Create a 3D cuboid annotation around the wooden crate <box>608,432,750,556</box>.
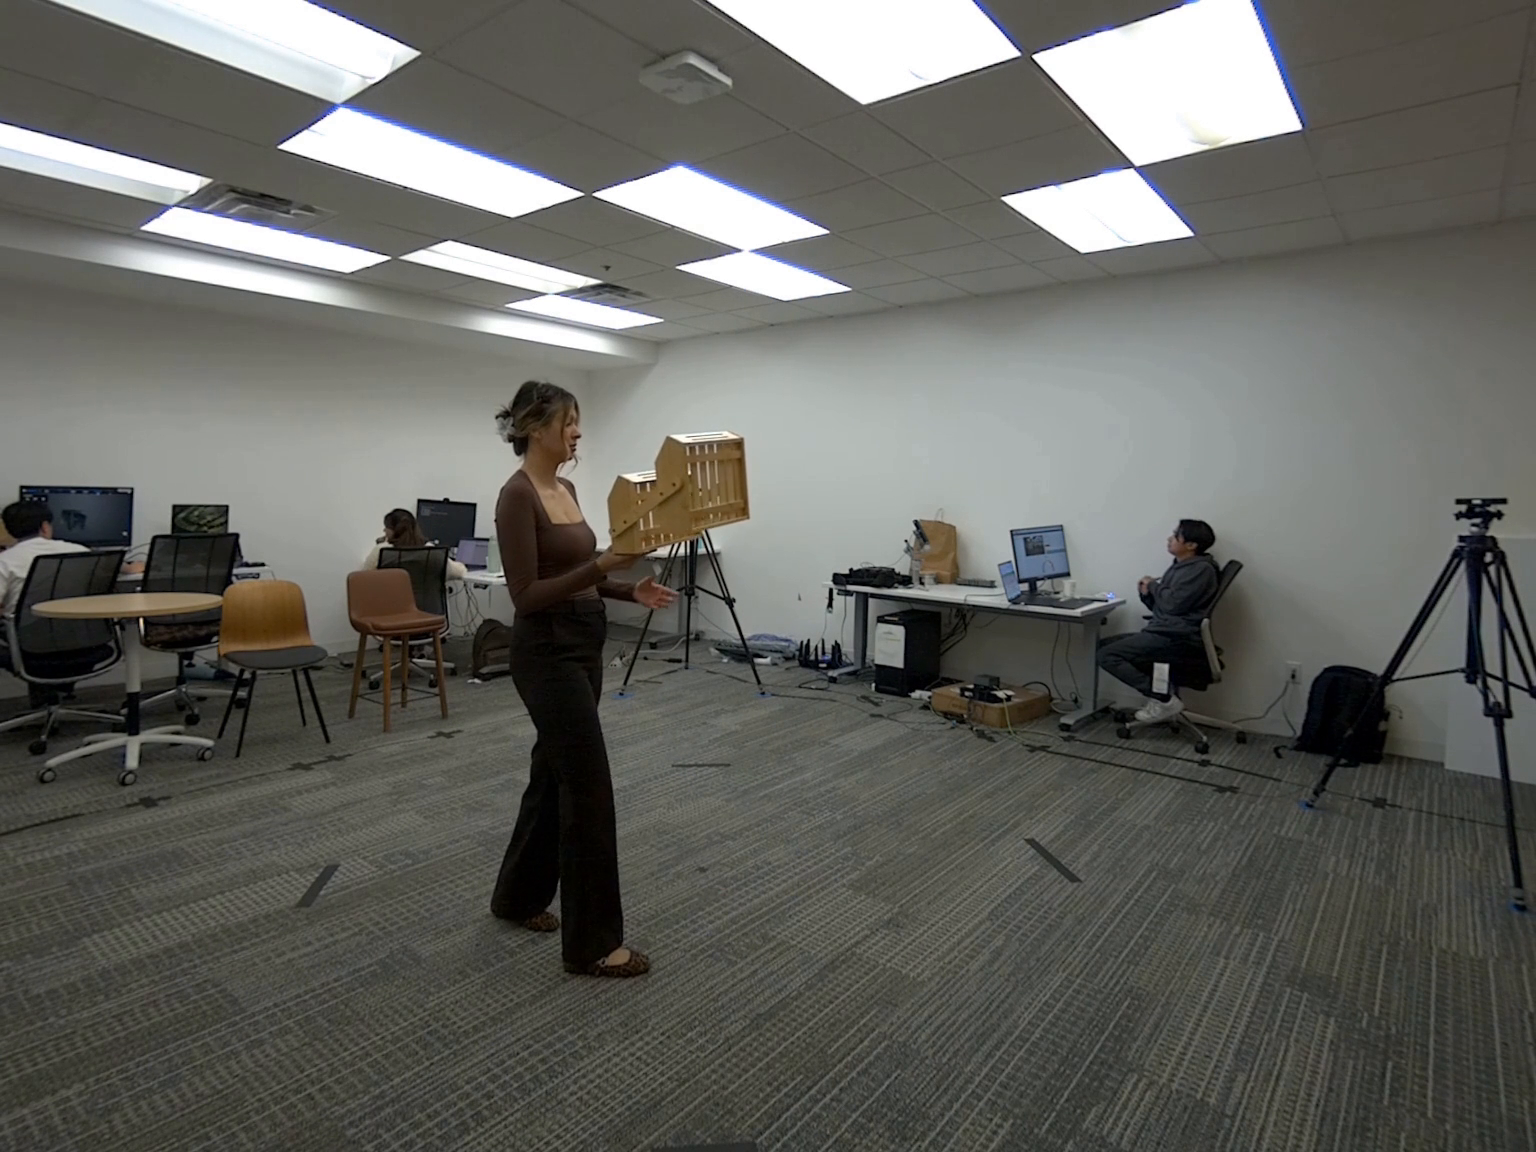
[{"bbox_3d":[-0.259,-0.235,2.330,0.281,0.300,0.318,1,9,31],"label":"wooden crate"}]
